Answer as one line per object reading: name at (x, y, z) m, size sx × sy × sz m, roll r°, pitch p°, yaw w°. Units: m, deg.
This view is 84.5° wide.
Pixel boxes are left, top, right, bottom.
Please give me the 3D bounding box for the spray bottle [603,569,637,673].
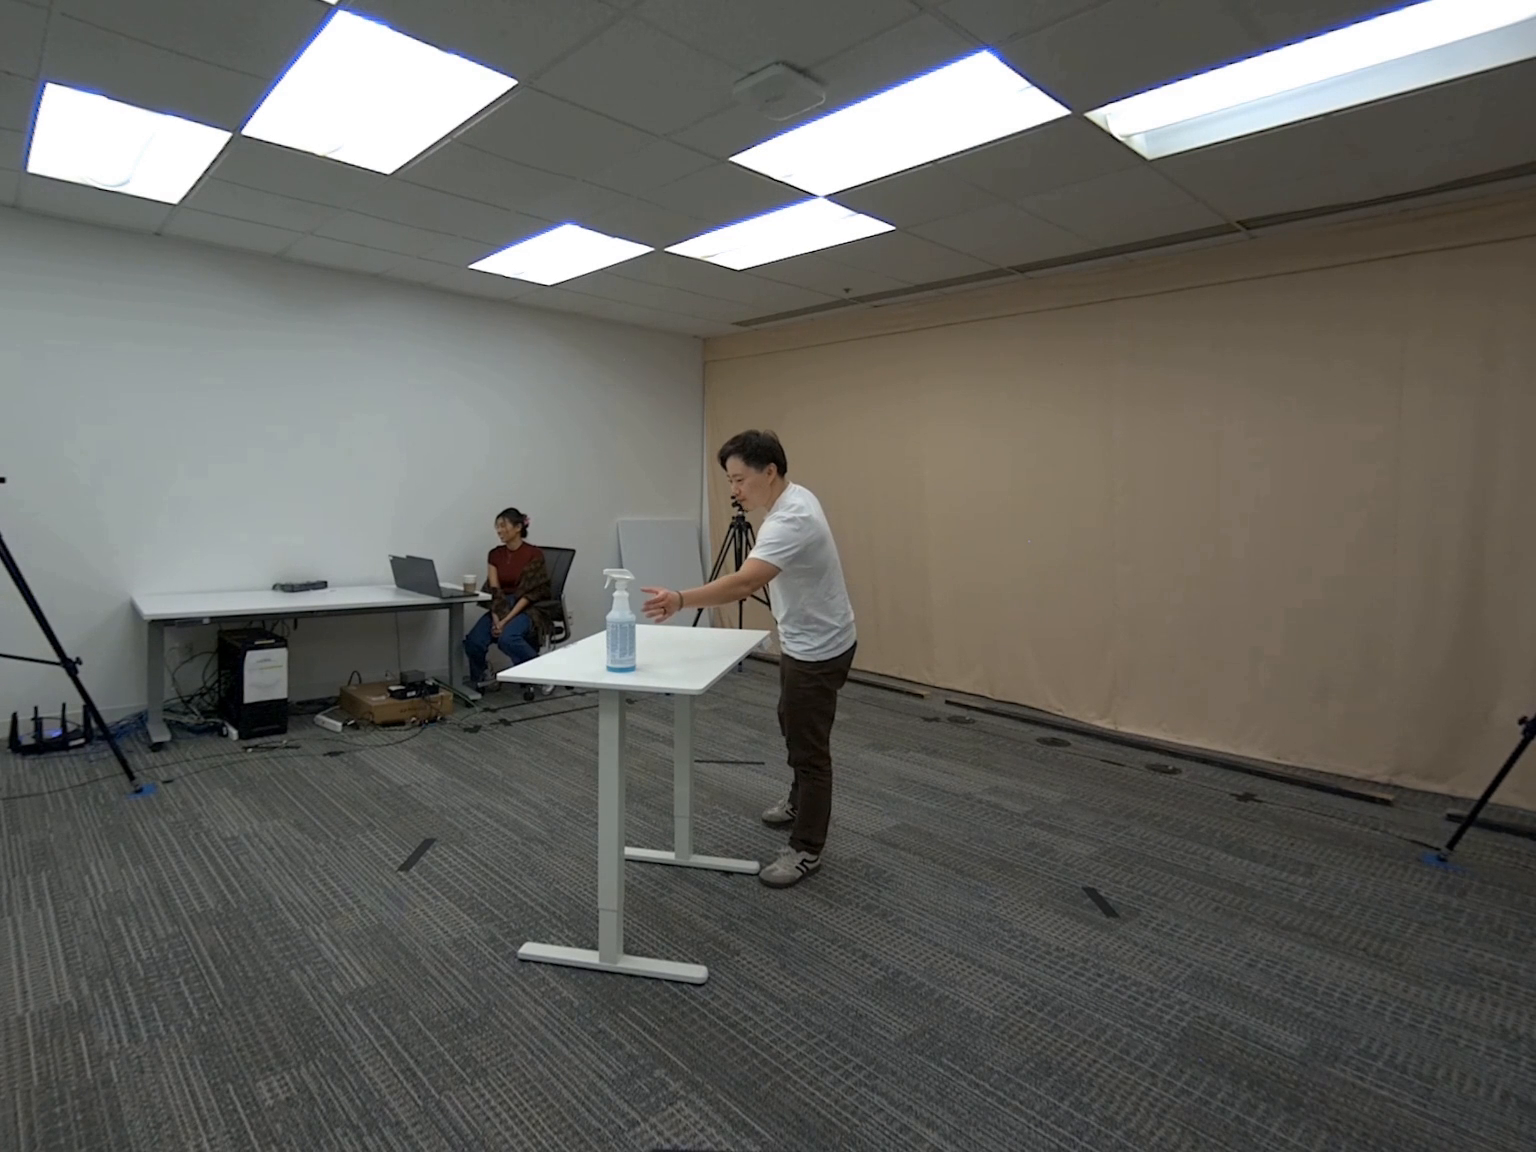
spray bottle at (-0.439, 0.131, 2.449) m, size 0.090 × 0.296 × 0.087 m, roll -1°, pitch 3°, yaw 0°
